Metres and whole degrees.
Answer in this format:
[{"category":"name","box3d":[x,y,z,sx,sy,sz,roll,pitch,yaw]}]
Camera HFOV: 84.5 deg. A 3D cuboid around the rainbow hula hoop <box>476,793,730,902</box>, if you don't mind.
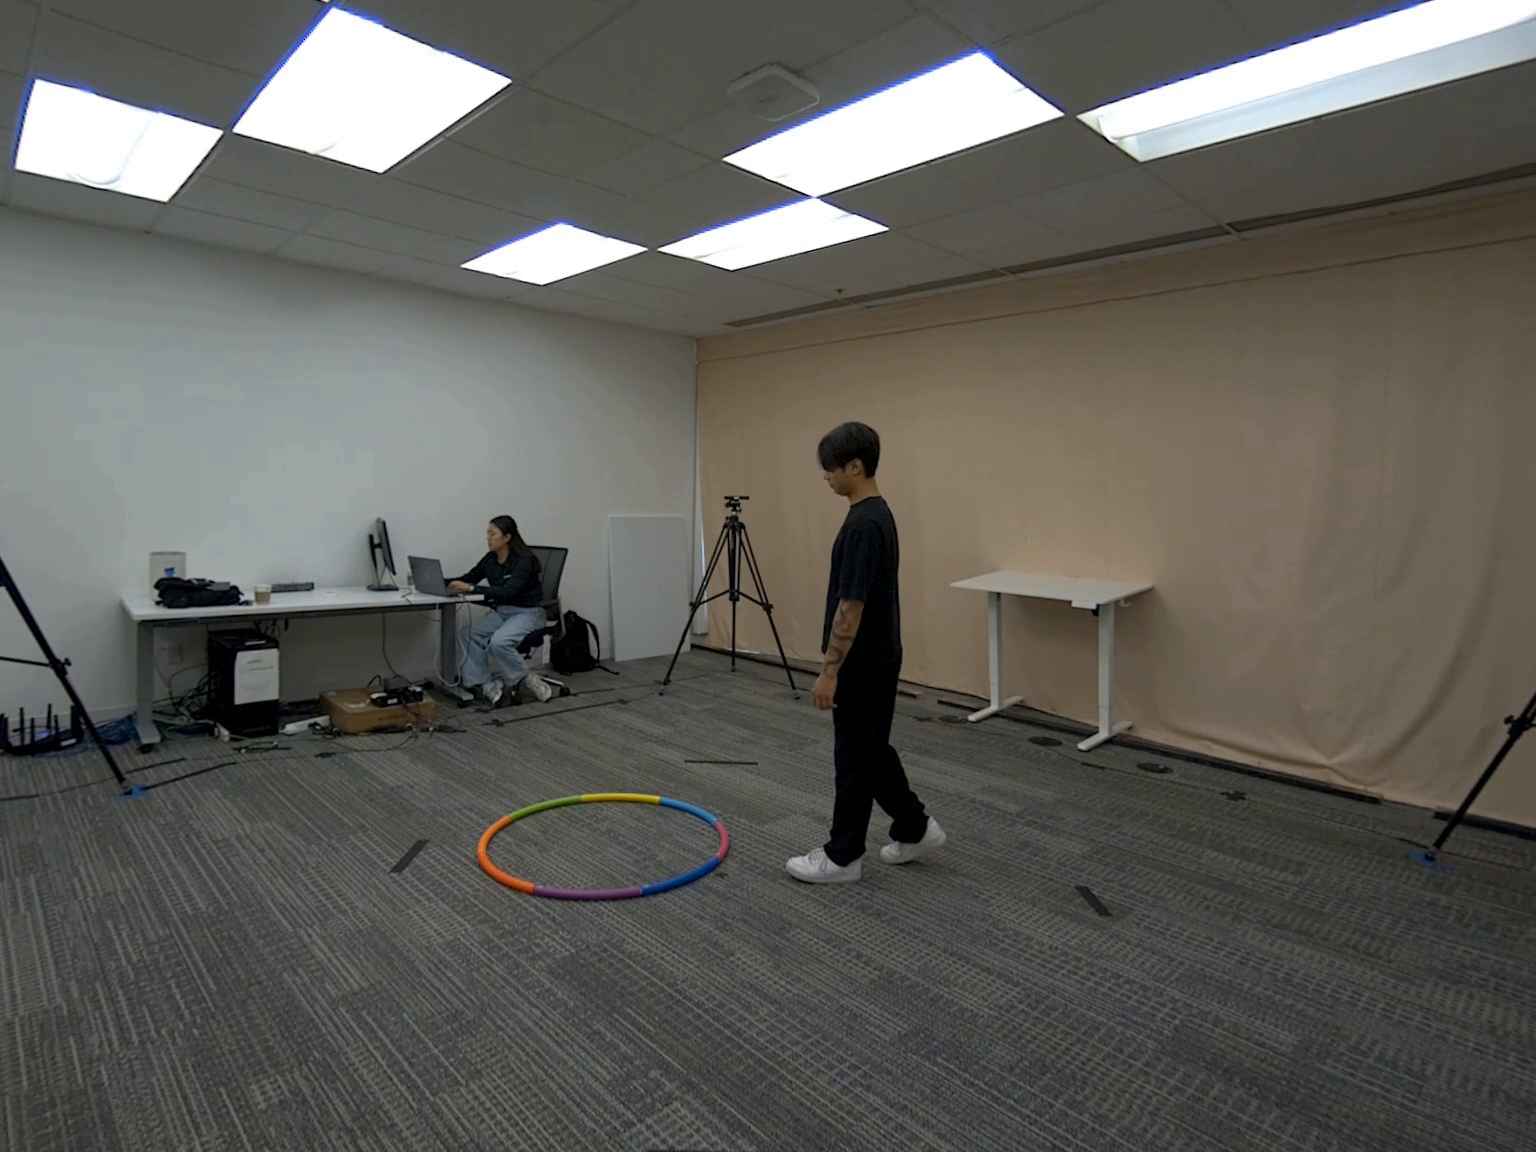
[{"category":"rainbow hula hoop","box3d":[-0.644,1.038,3.360,0.978,0.035,0.982,2,5,-1]}]
